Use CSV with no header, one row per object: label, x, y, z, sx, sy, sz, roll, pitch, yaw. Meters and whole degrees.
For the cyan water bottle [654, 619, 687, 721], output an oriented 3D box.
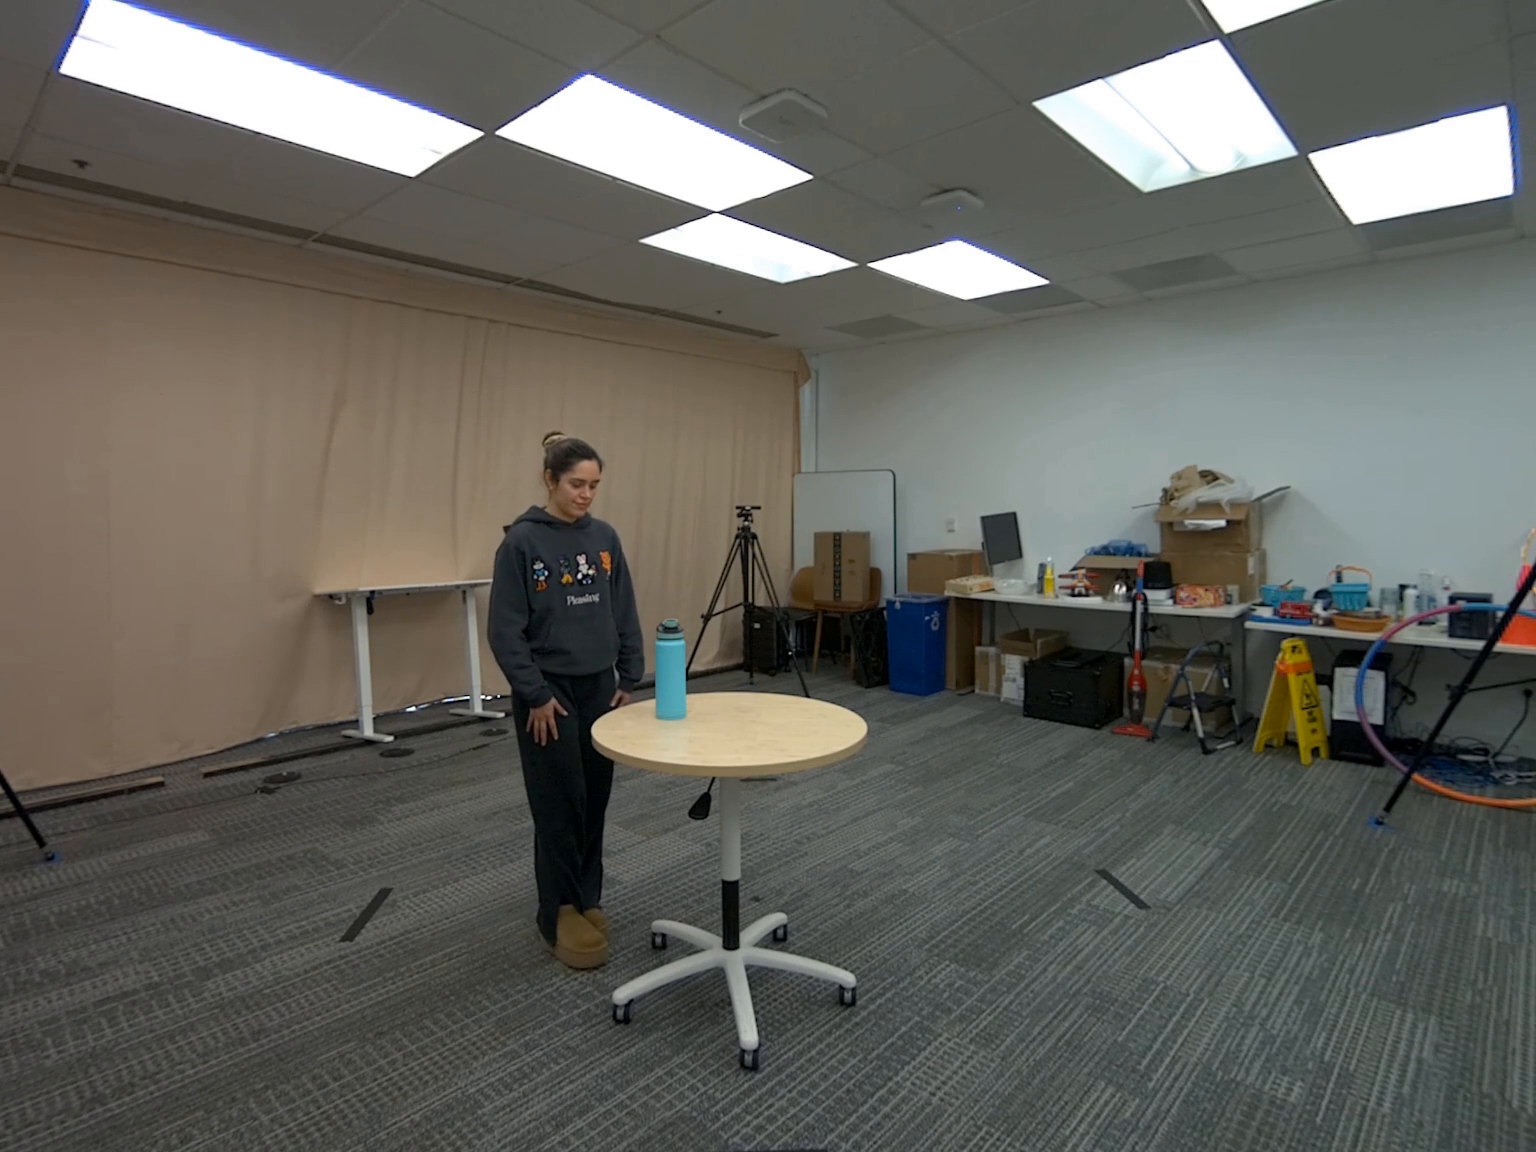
cyan water bottle,-0.272,0.272,2.442,0.092,0.283,0.092,-2,2,-2
